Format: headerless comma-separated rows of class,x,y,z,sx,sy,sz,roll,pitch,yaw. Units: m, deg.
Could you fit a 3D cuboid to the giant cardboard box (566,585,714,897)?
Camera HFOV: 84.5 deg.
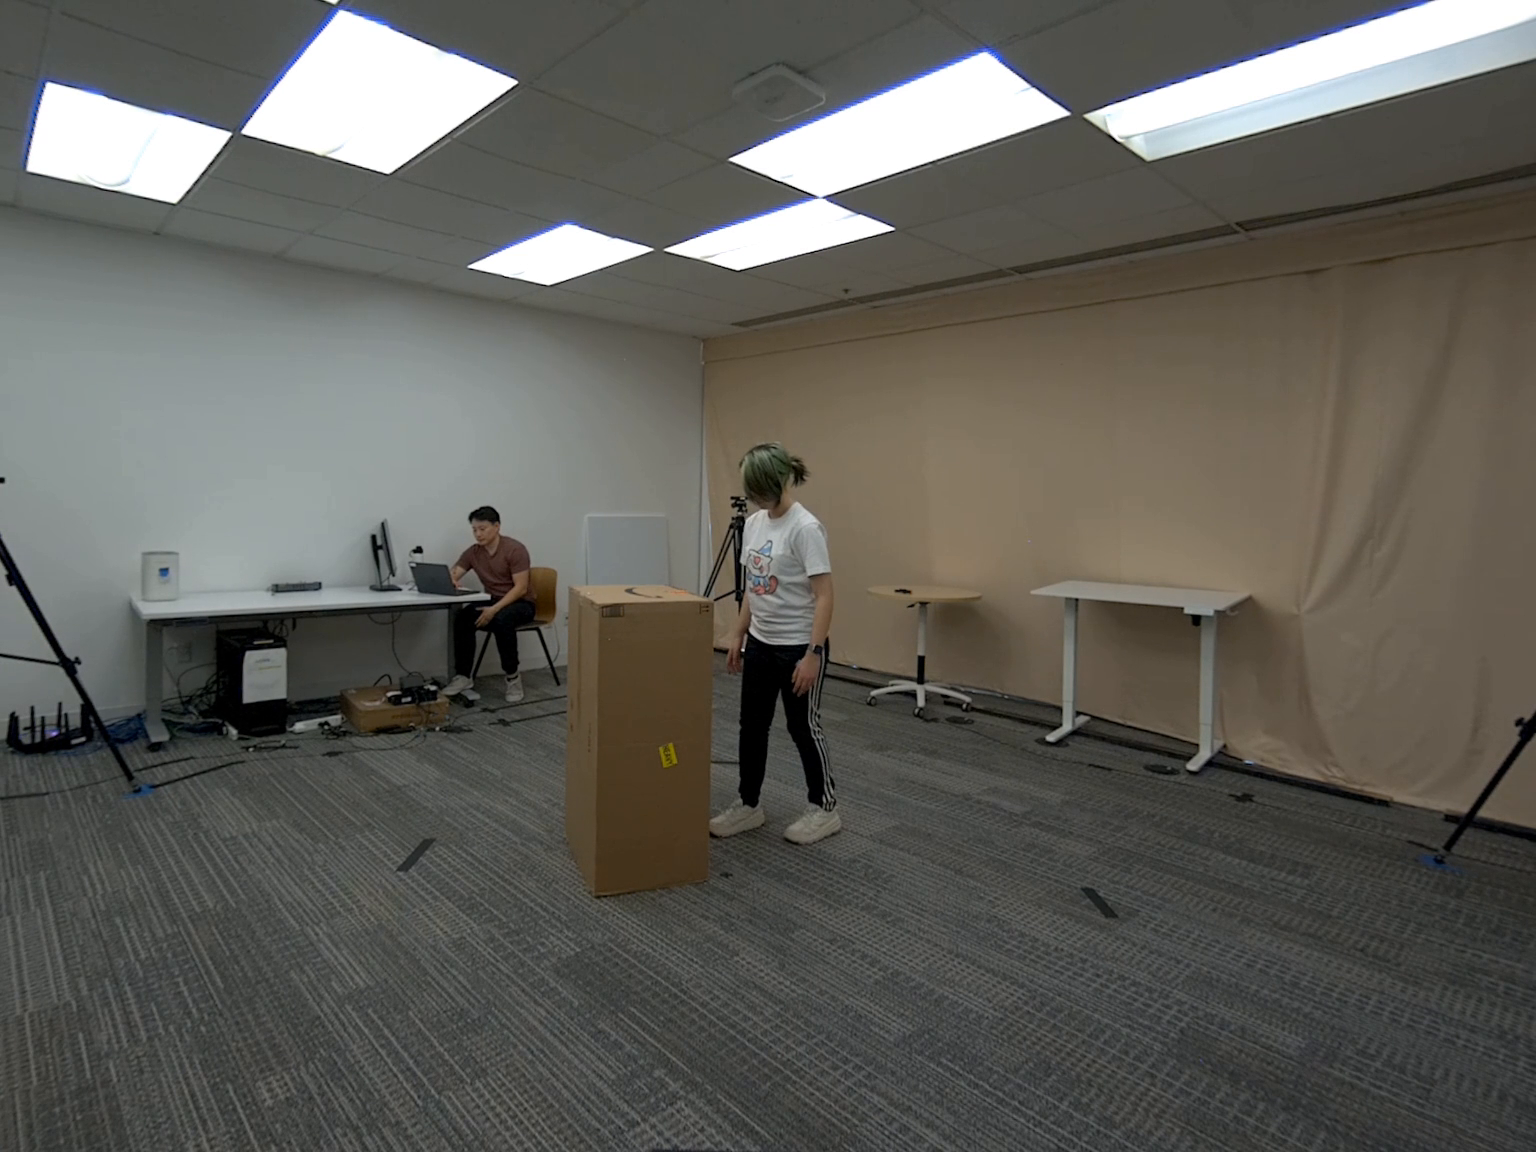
giant cardboard box,-0.516,0.576,3.217,0.419,1.024,0.588,0,3,-23
